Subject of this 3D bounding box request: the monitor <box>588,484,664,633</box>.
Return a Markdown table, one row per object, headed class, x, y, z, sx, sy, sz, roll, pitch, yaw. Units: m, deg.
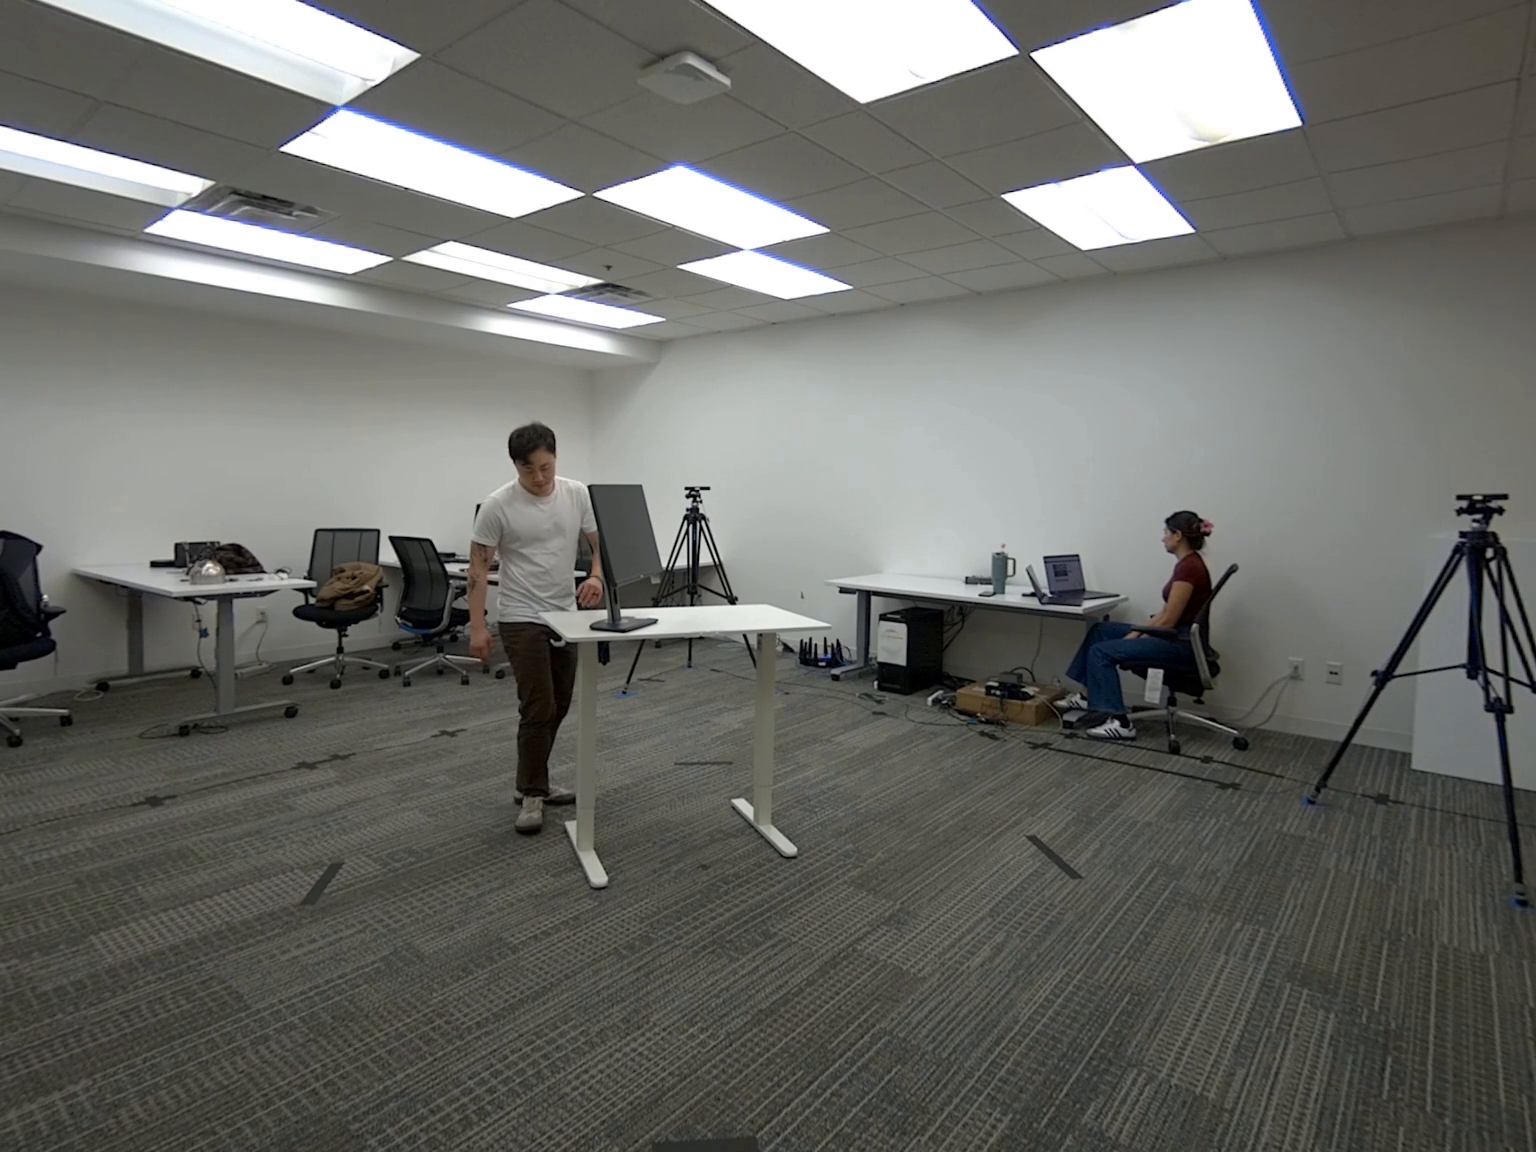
| class | x | y | z | sx | sy | sz | roll | pitch | yaw |
| --- | --- | --- | --- | --- | --- | --- | --- | --- | --- |
| monitor | -0.547 | -0.073 | 3.093 | 0.189 | 0.521 | 0.534 | 0 | 4 | 10 |
